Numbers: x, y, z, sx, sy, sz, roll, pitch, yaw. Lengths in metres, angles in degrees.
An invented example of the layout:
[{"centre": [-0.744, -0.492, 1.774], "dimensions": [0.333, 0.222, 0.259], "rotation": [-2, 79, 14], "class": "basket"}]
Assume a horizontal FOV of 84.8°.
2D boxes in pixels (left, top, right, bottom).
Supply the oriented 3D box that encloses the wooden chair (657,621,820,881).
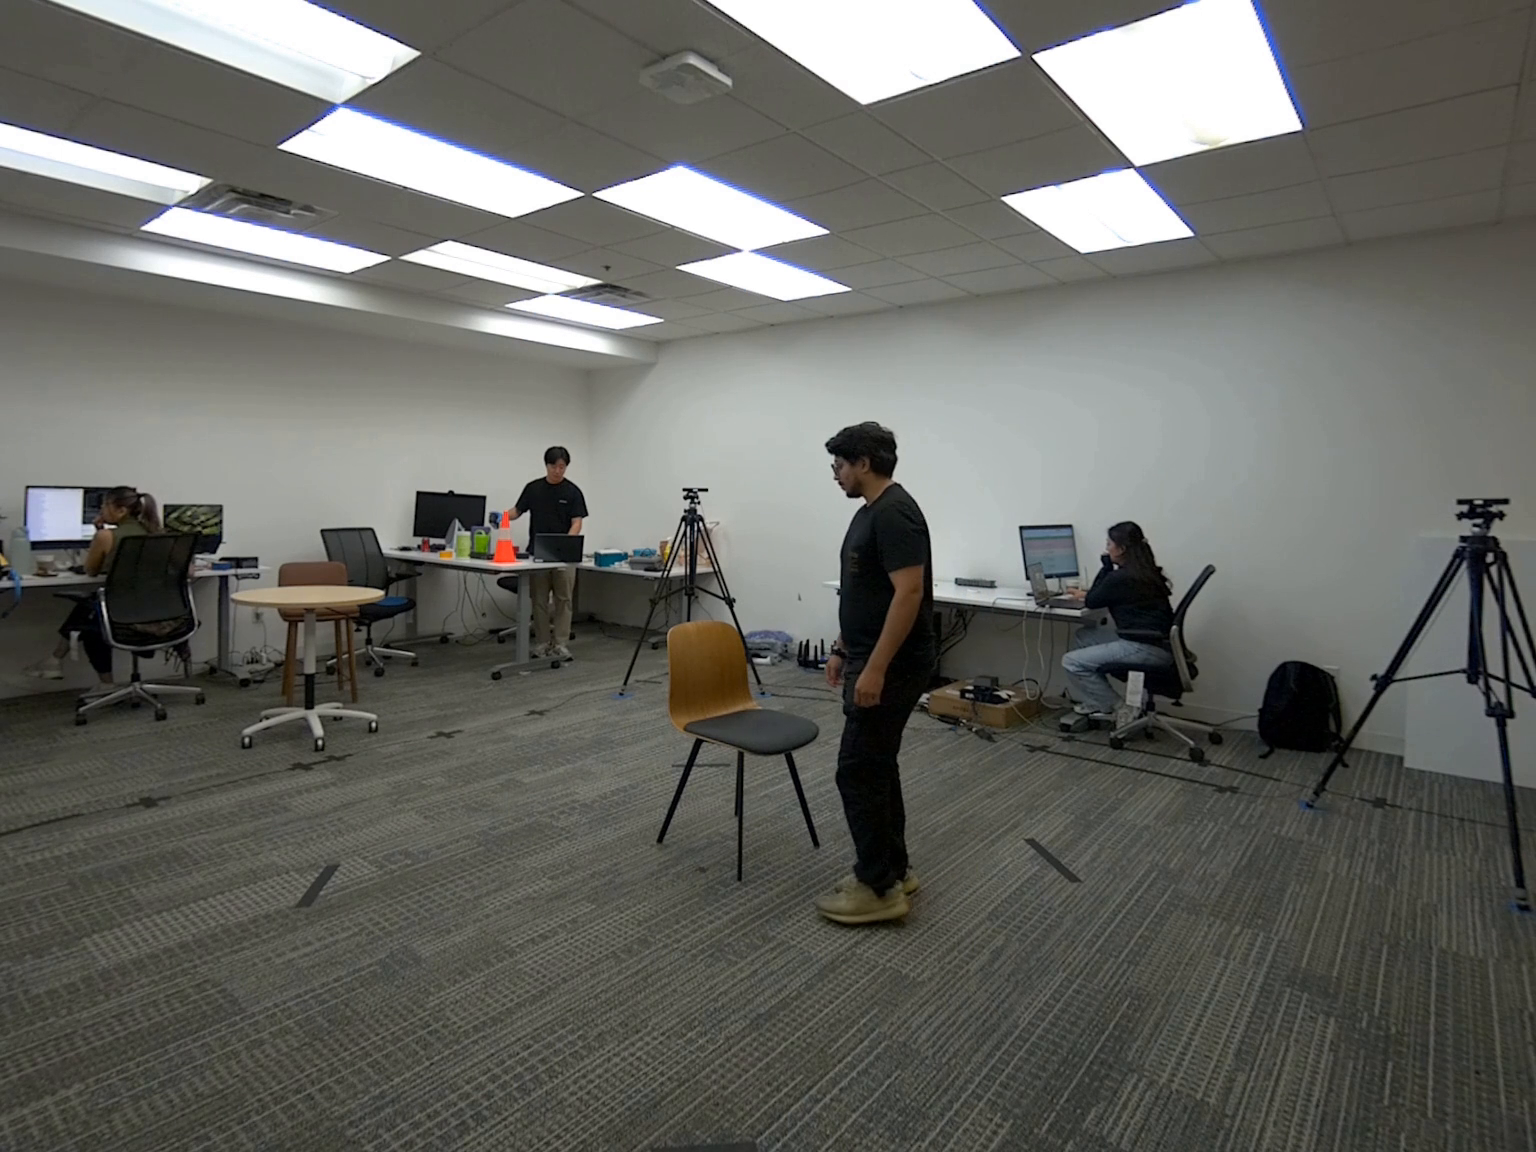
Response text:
[{"centre": [-0.113, 0.627, 3.300], "dimensions": [0.539, 0.878, 0.463], "rotation": [-2, 0, 44], "class": "wooden chair"}]
